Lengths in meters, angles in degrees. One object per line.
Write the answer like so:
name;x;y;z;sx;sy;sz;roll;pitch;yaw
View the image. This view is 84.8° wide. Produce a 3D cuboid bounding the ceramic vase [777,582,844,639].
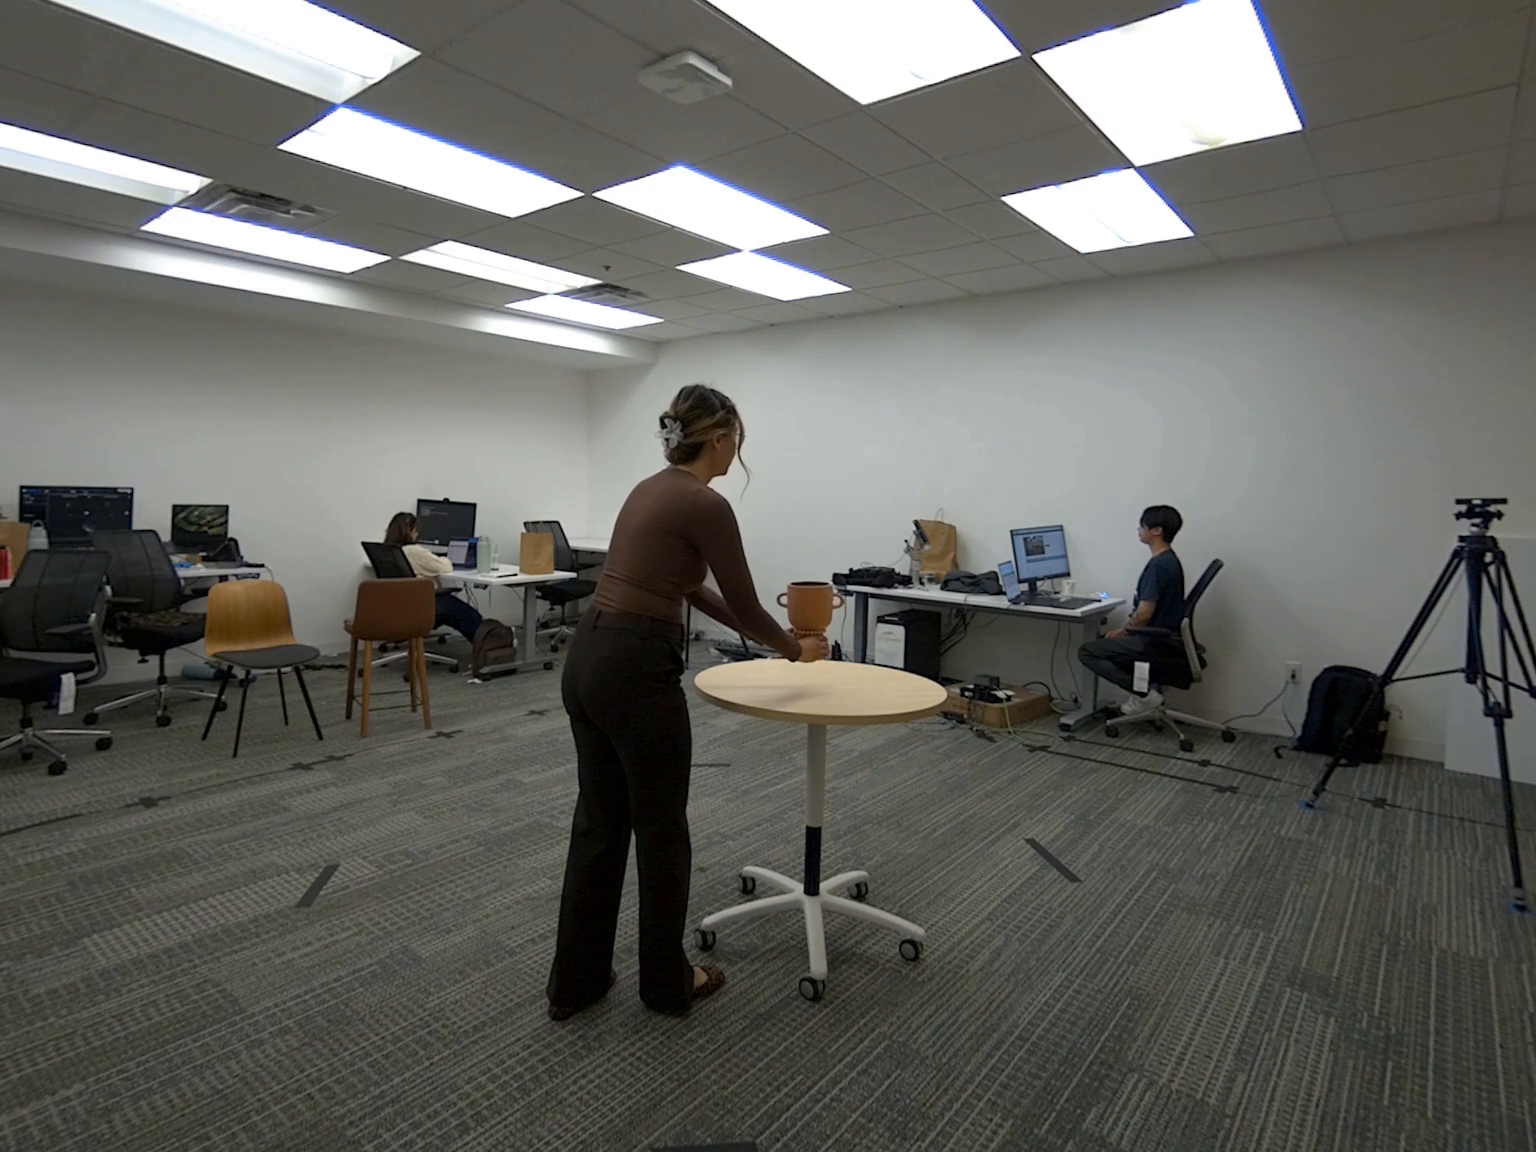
ceramic vase;0.118;0.130;2.510;0.164;0.219;0.130;3;5;45
